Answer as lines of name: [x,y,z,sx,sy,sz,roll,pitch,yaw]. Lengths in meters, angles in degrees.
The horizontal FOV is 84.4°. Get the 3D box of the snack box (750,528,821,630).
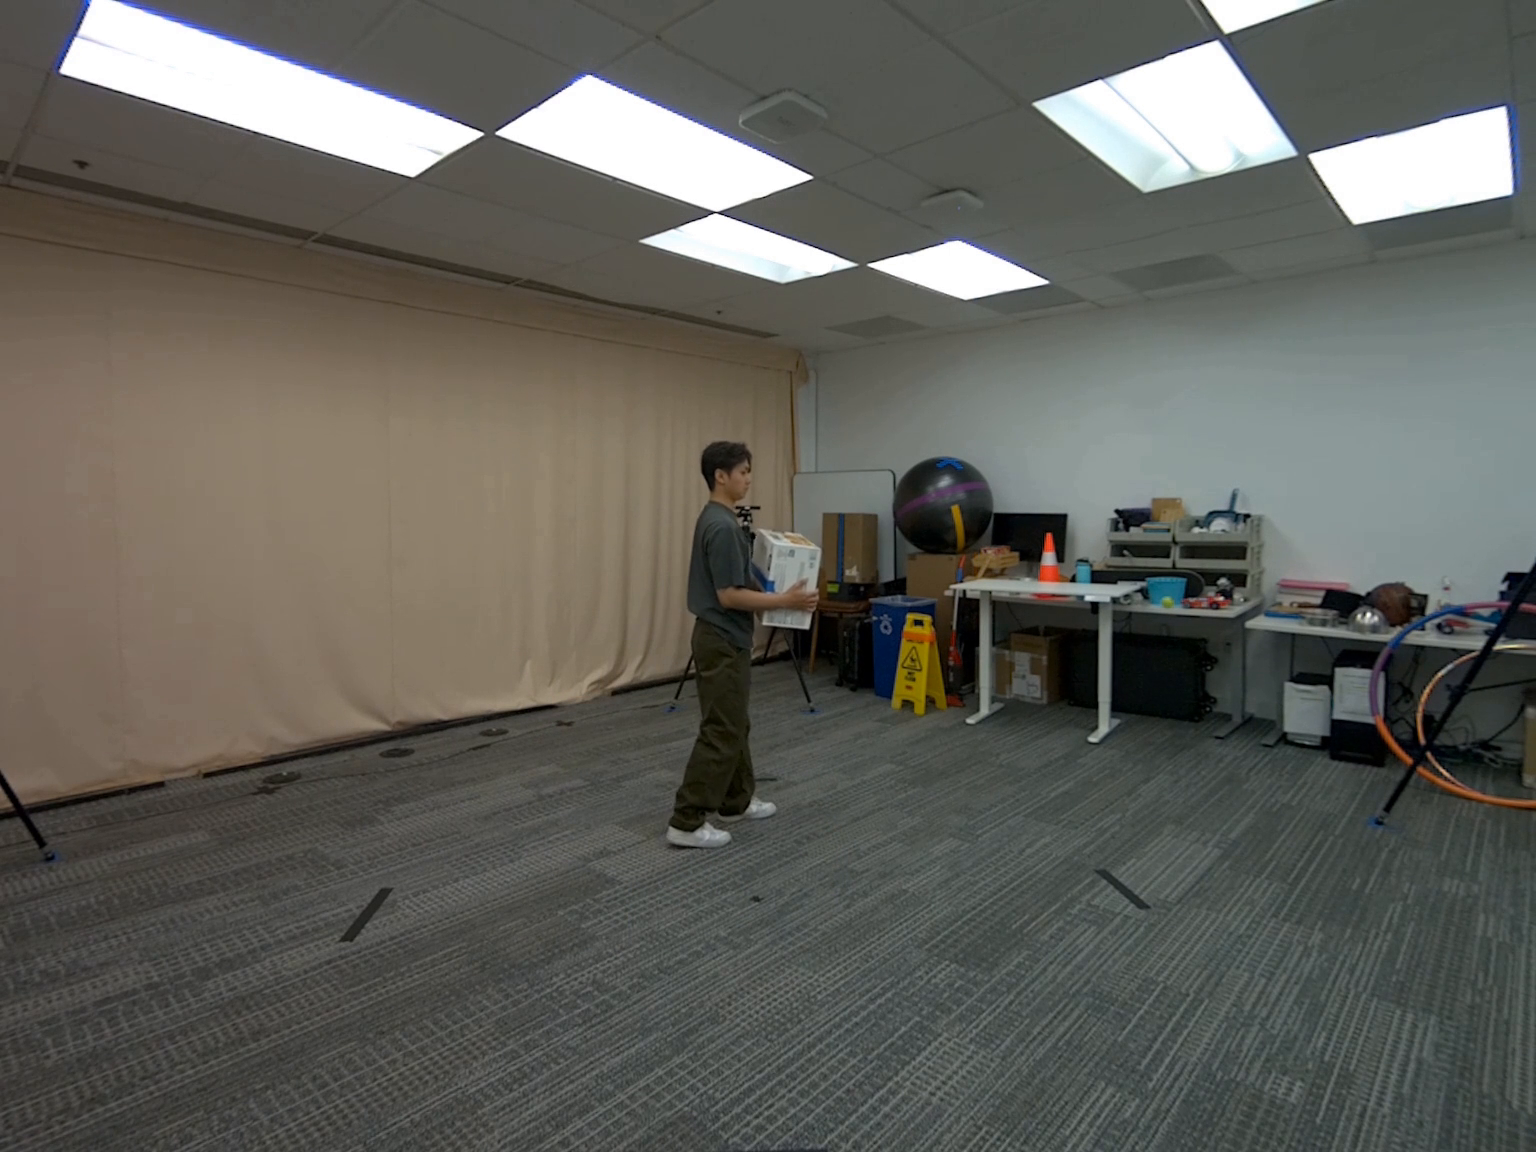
snack box: [0.058,0.005,3.604,0.203,0.338,0.411,6,11,-11]
